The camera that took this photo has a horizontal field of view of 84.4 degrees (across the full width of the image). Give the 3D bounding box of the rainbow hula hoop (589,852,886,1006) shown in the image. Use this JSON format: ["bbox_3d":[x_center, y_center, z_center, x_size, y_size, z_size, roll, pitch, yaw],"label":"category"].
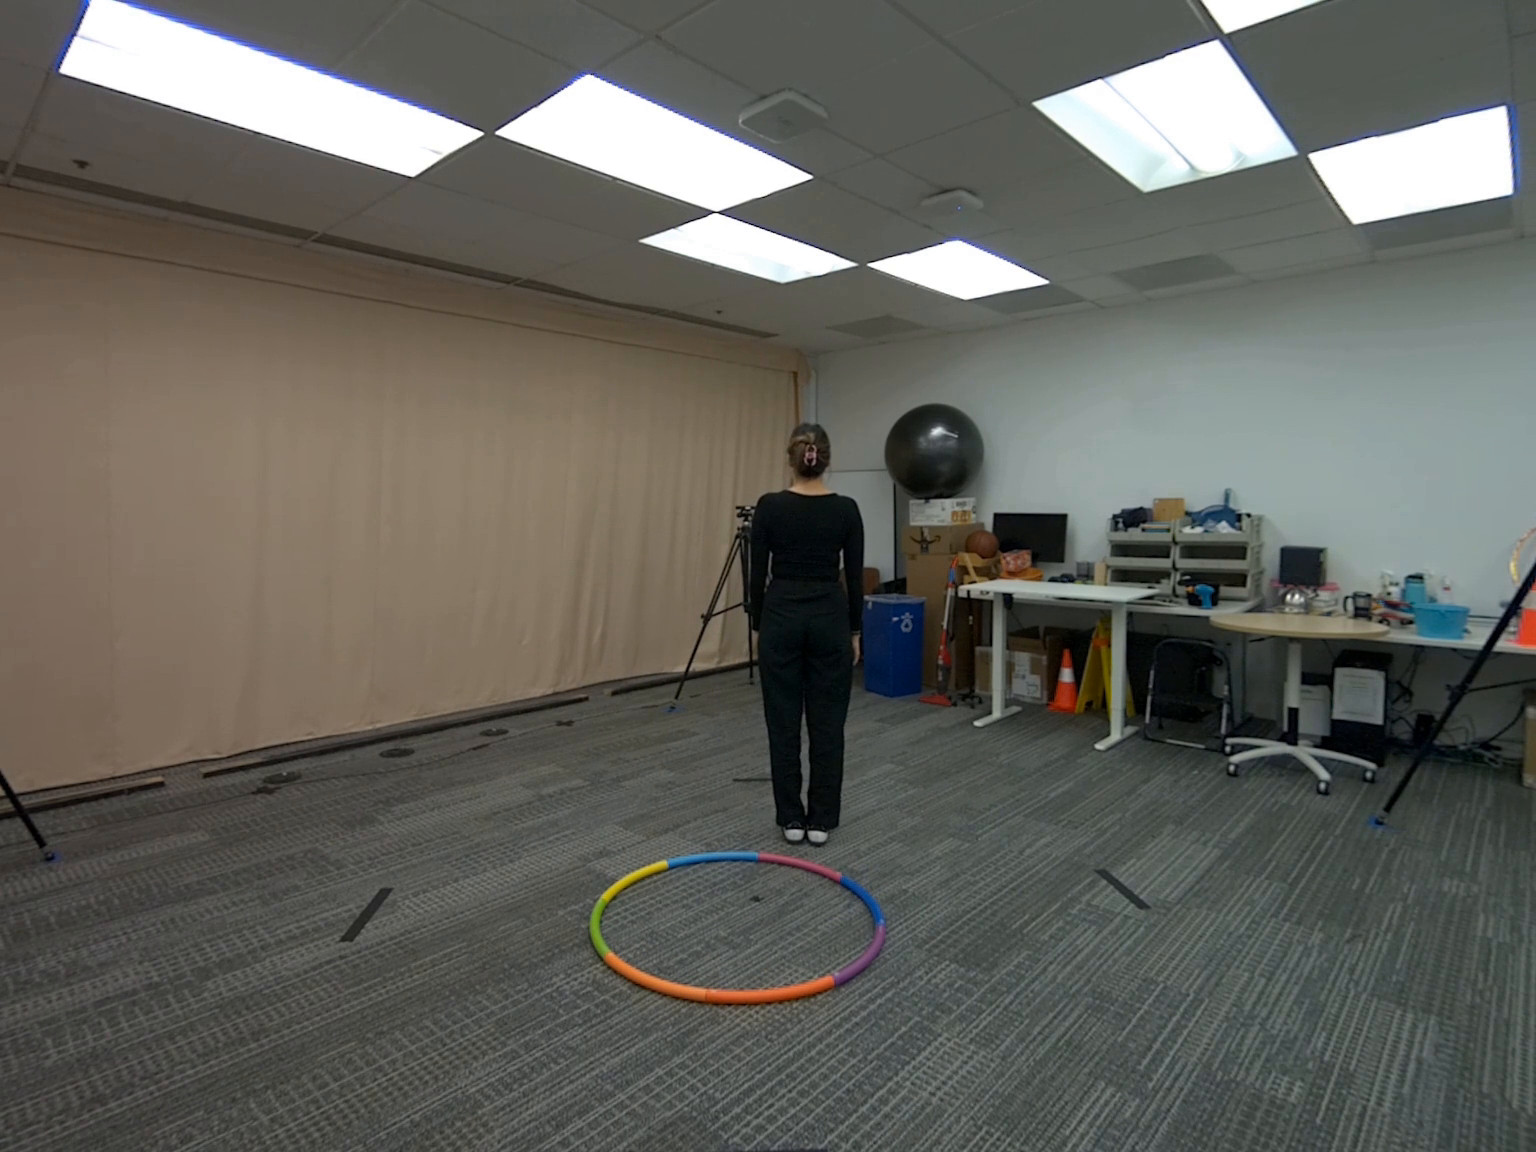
[{"bbox_3d":[-0.102,1.128,2.831,0.978,0.035,0.982,0,5,-2],"label":"rainbow hula hoop"}]
